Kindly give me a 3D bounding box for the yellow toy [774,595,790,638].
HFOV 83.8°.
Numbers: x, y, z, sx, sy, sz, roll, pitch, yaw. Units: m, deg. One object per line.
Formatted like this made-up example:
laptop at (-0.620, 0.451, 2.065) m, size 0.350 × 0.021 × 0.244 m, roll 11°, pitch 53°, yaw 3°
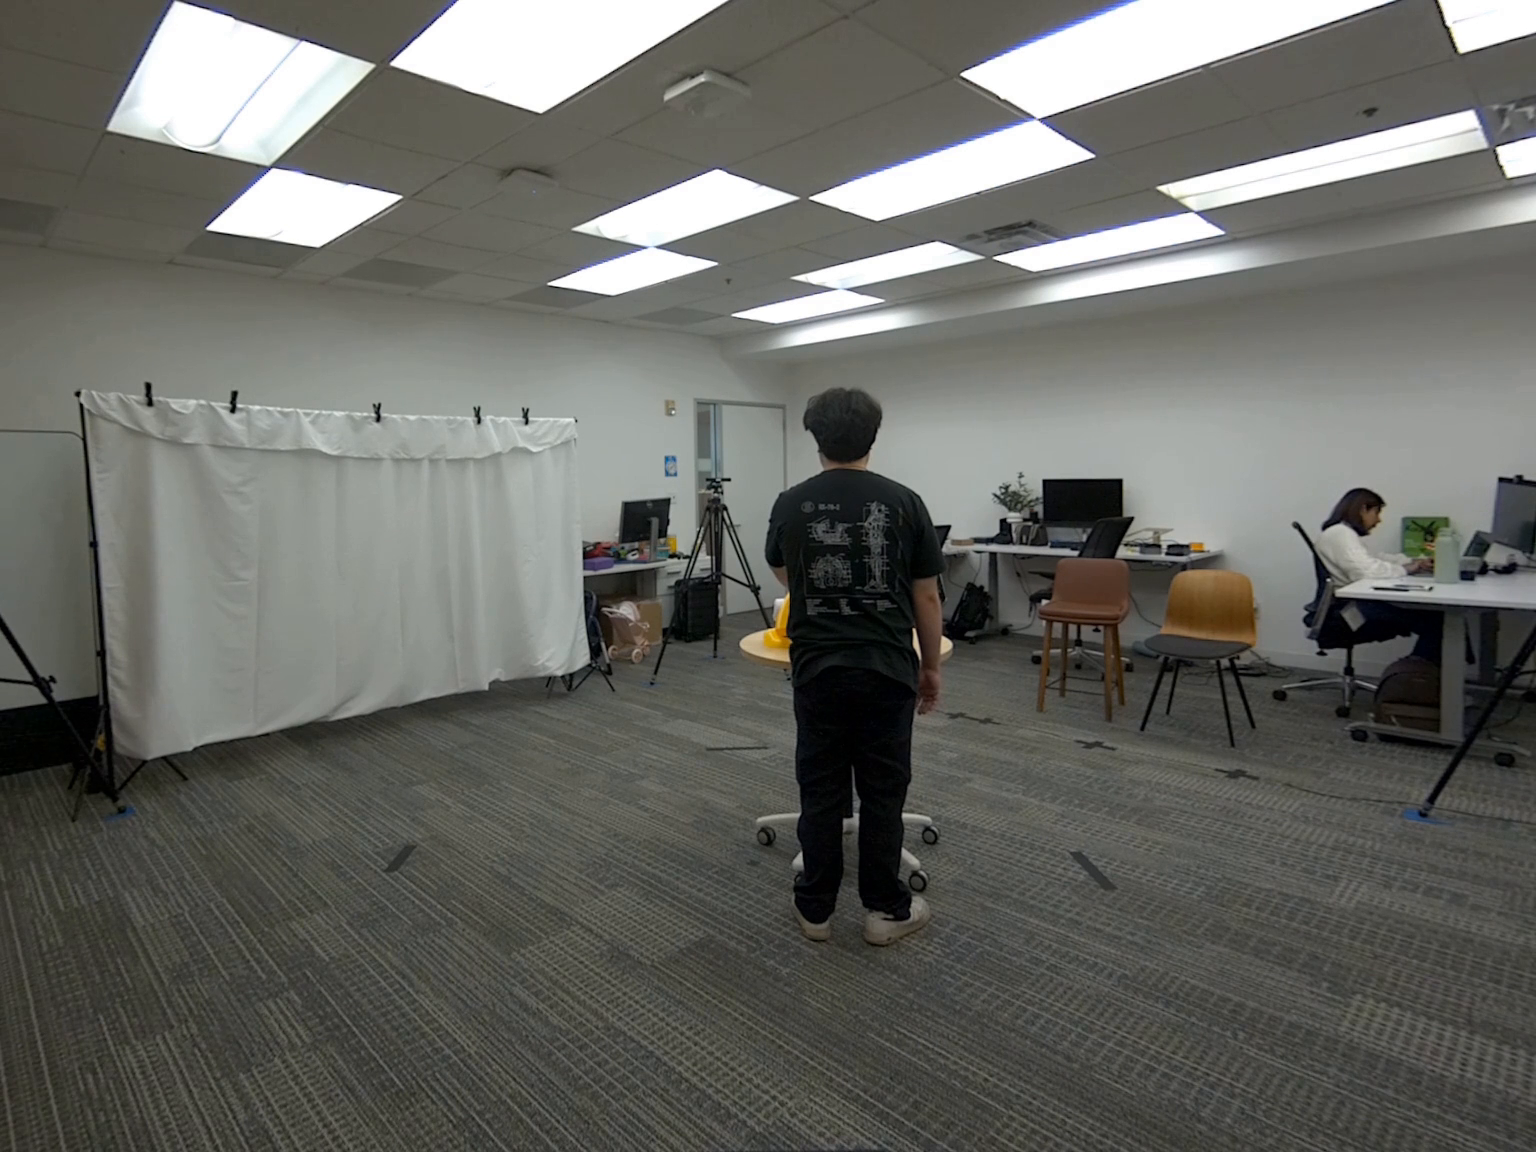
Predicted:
yellow toy at (0.090, 0.134, 3.113) m, size 0.200 × 0.230 × 0.198 m, roll -5°, pitch 5°, yaw -27°
